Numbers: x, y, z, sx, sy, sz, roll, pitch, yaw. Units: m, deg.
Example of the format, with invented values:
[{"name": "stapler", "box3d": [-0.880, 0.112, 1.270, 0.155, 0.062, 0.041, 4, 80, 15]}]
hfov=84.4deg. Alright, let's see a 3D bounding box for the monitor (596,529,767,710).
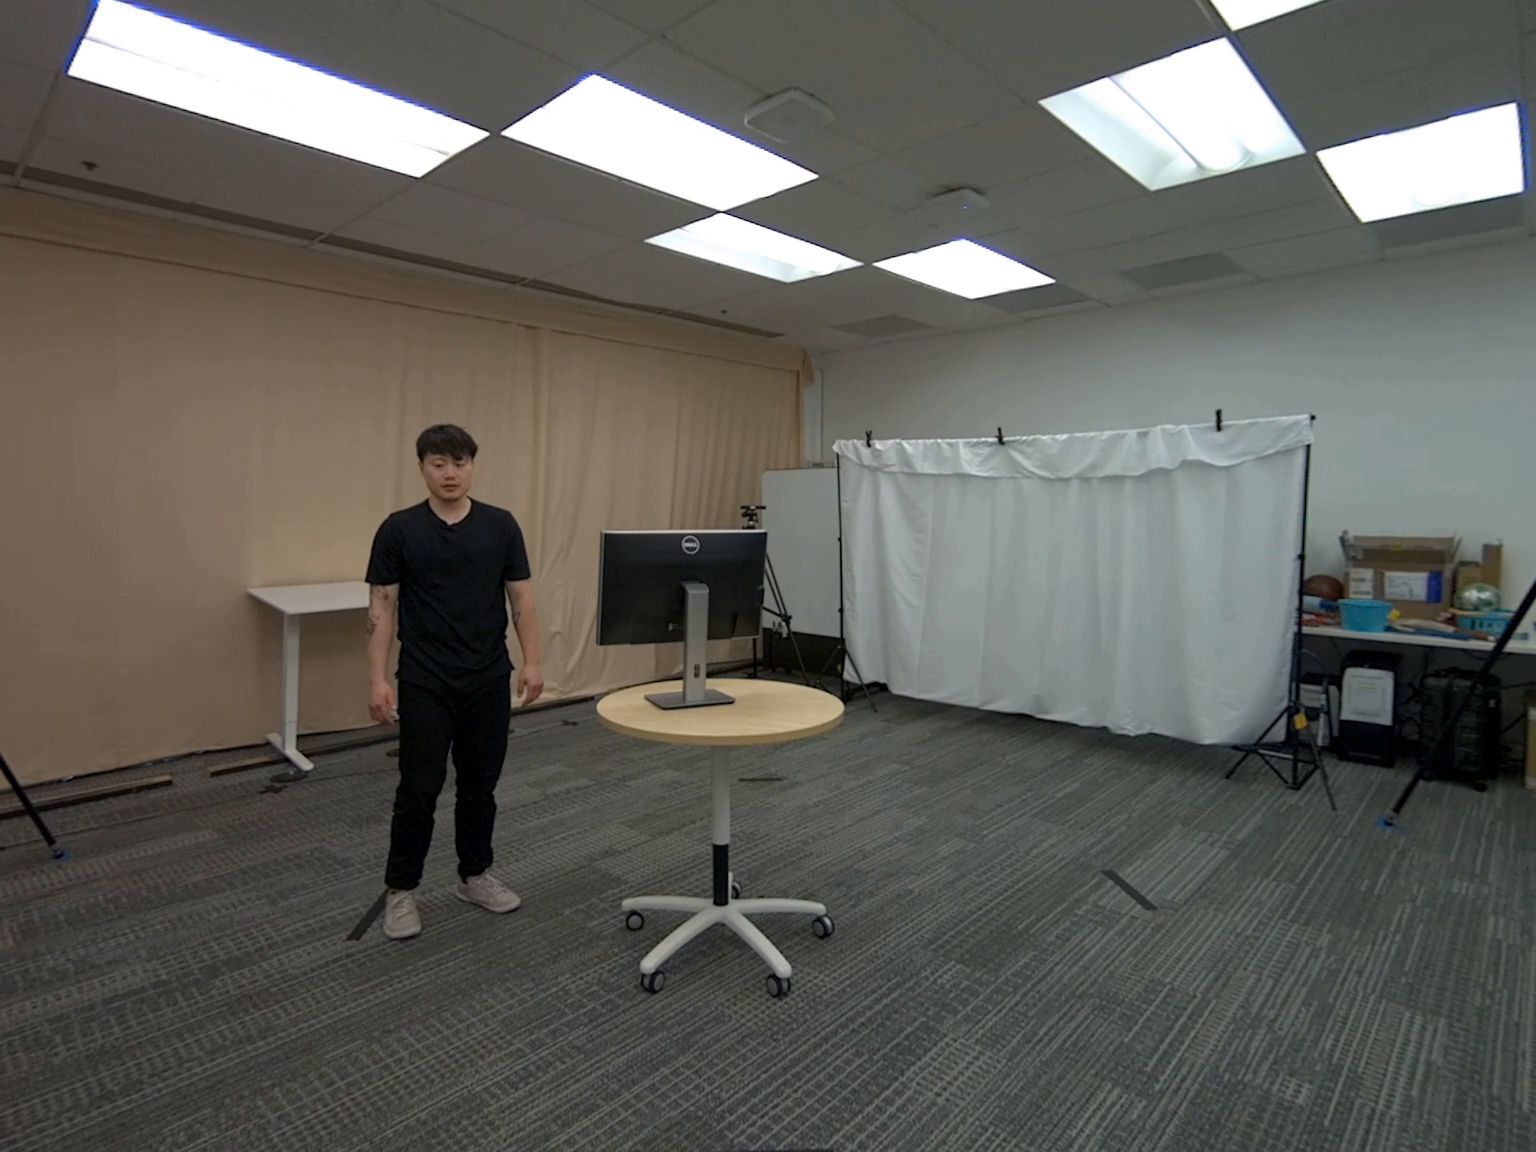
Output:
[{"name": "monitor", "box3d": [-0.251, 0.132, 2.646, 0.526, 0.522, 0.192, -1, 1, -24]}]
